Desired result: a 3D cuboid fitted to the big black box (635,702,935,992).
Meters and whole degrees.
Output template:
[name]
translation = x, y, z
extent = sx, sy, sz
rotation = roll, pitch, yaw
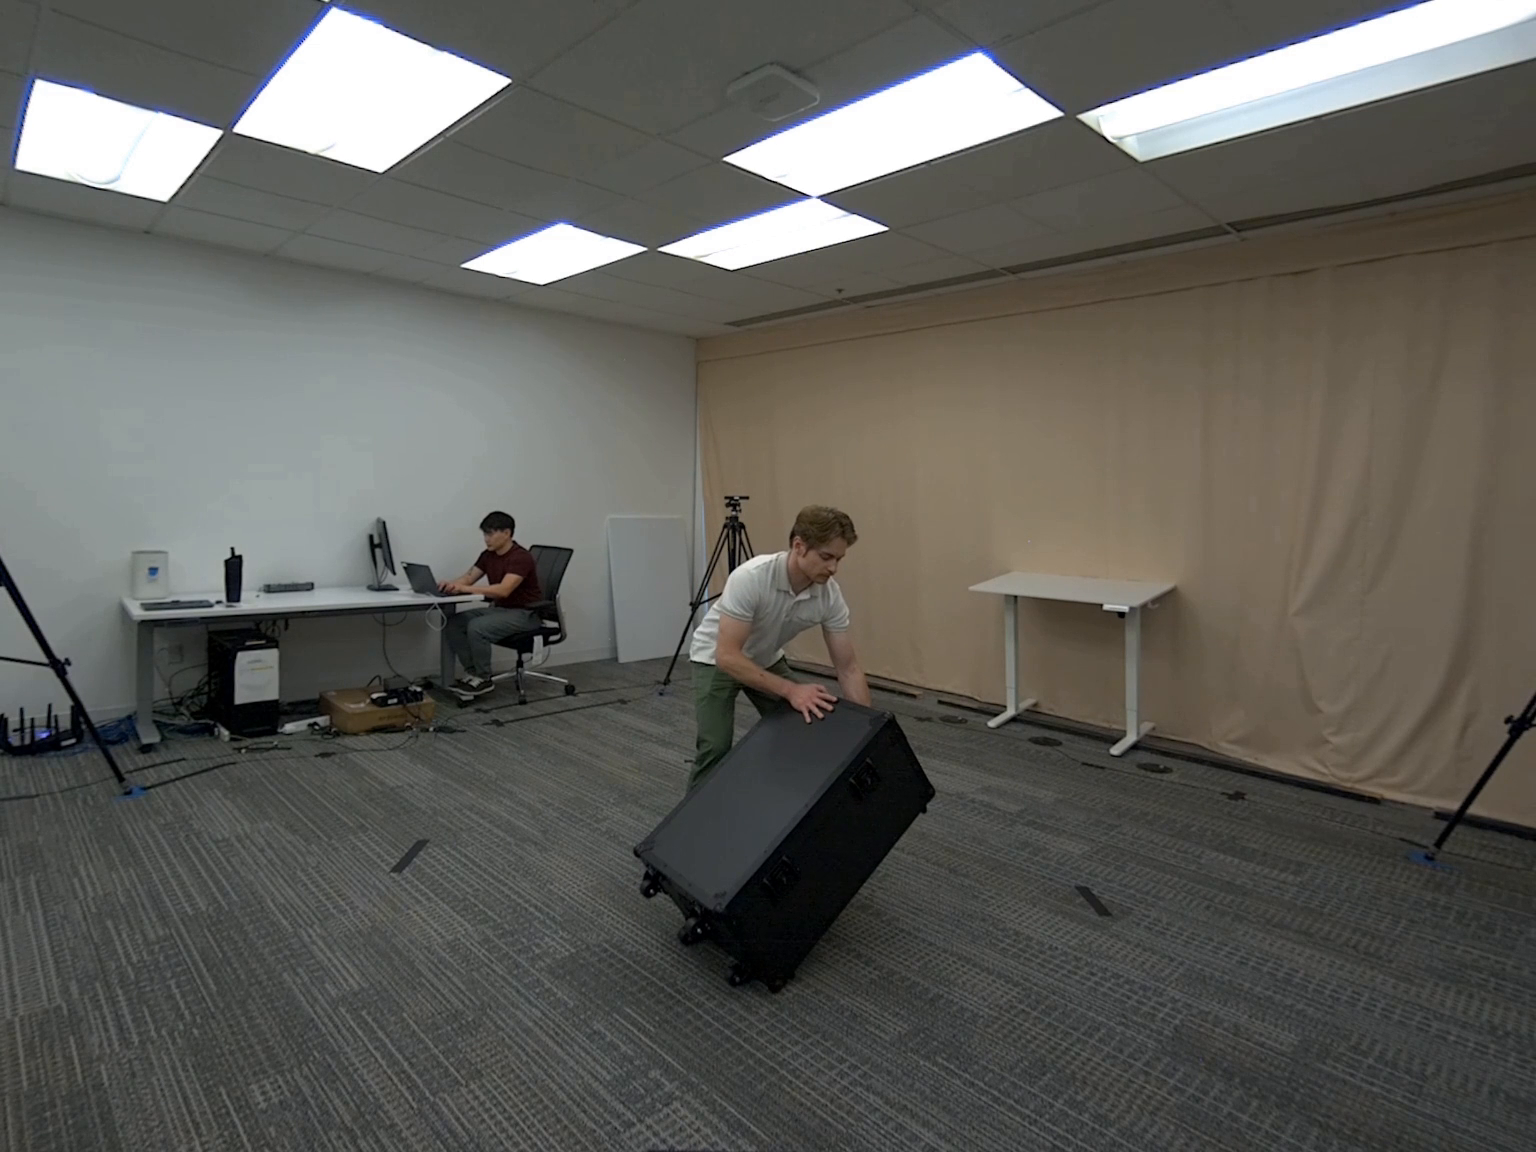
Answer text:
[big black box]
translation = 0.030, 0.805, 2.643
extent = 0.866, 0.376, 0.536
rotation = -43, 27, -25
